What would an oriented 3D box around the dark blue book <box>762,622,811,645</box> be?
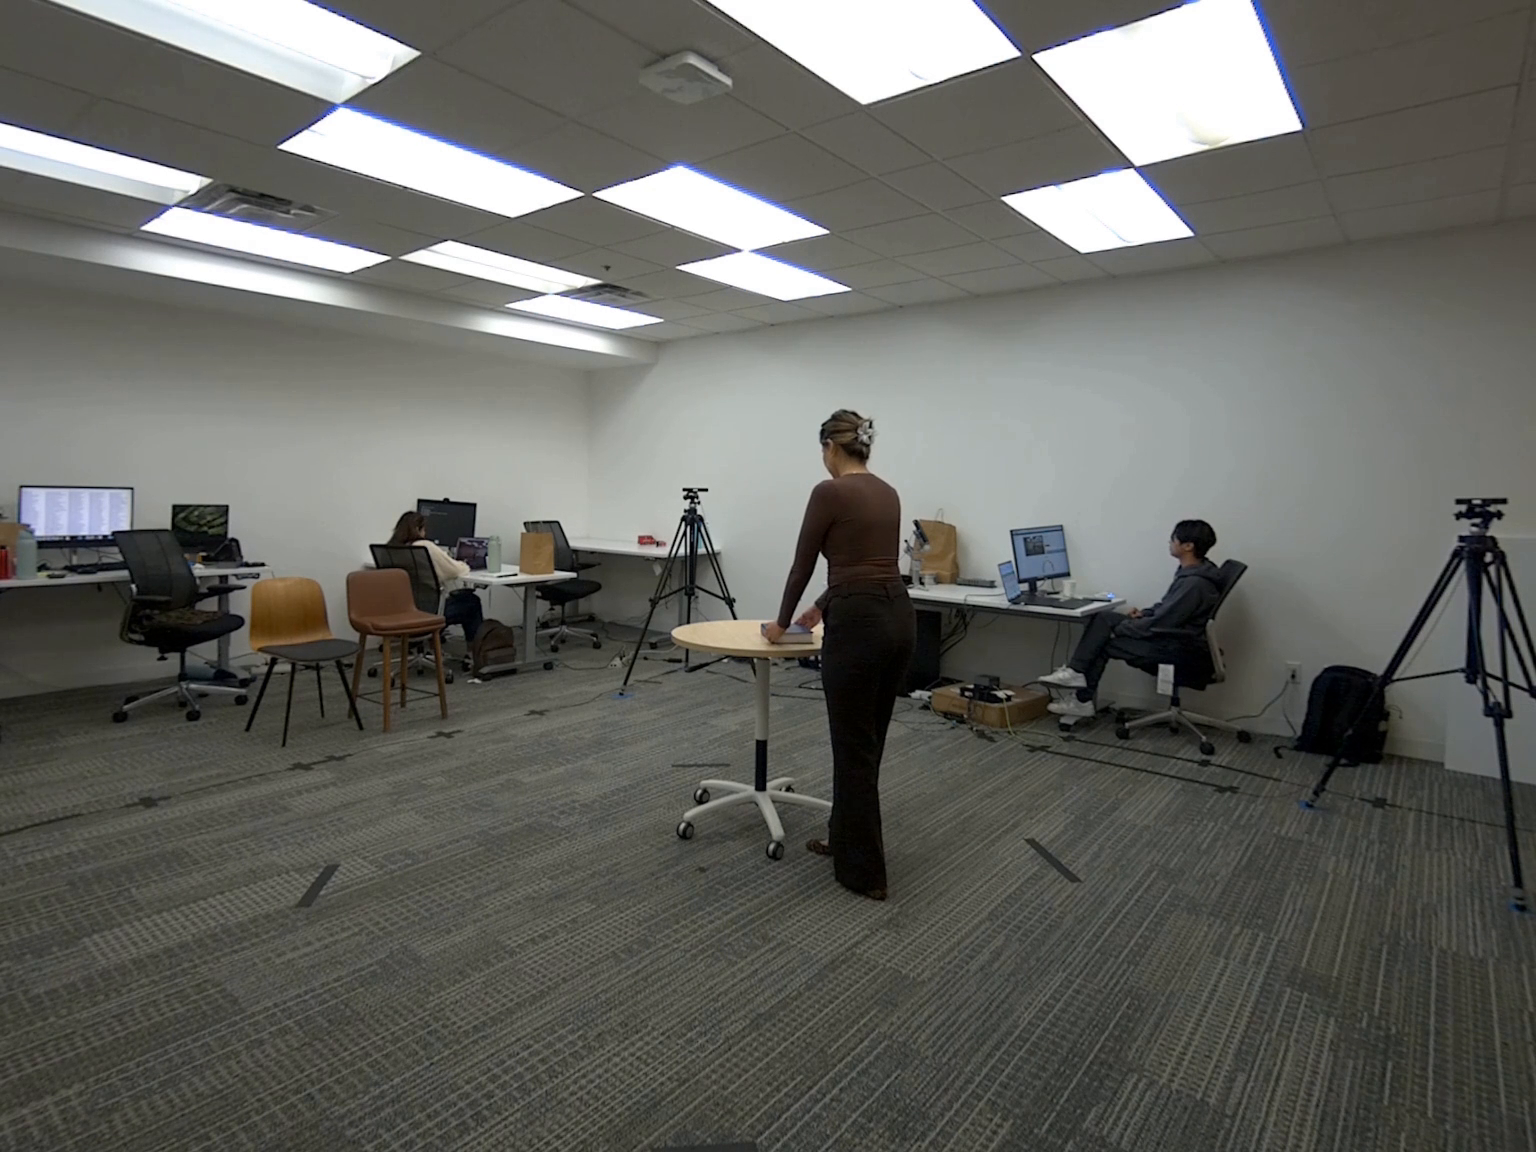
[{"bbox_3d":[0.063,0.234,3.400,0.162,0.045,0.249,0,7,-10],"label":"dark blue book"}]
